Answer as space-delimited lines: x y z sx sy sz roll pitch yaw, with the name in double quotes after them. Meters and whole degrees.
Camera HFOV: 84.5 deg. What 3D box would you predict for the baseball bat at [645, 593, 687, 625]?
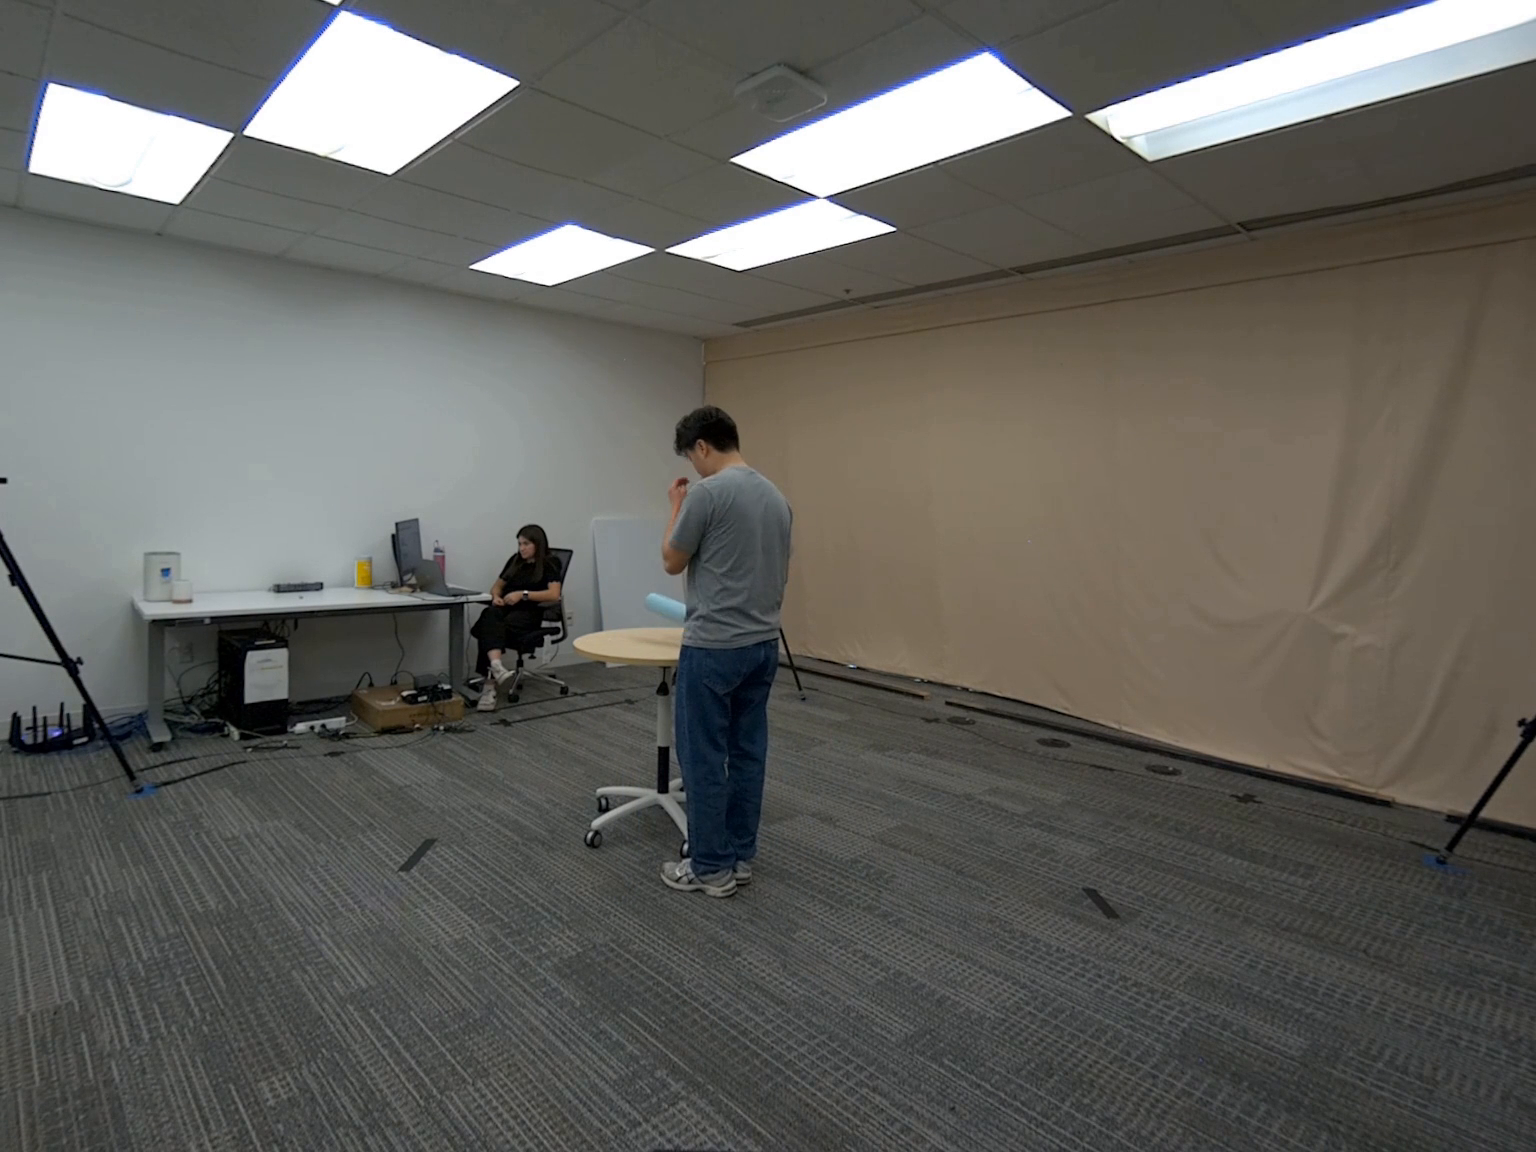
-0.311 0.176 3.443 0.559 0.088 0.087 19 14 38 "baseball bat"
